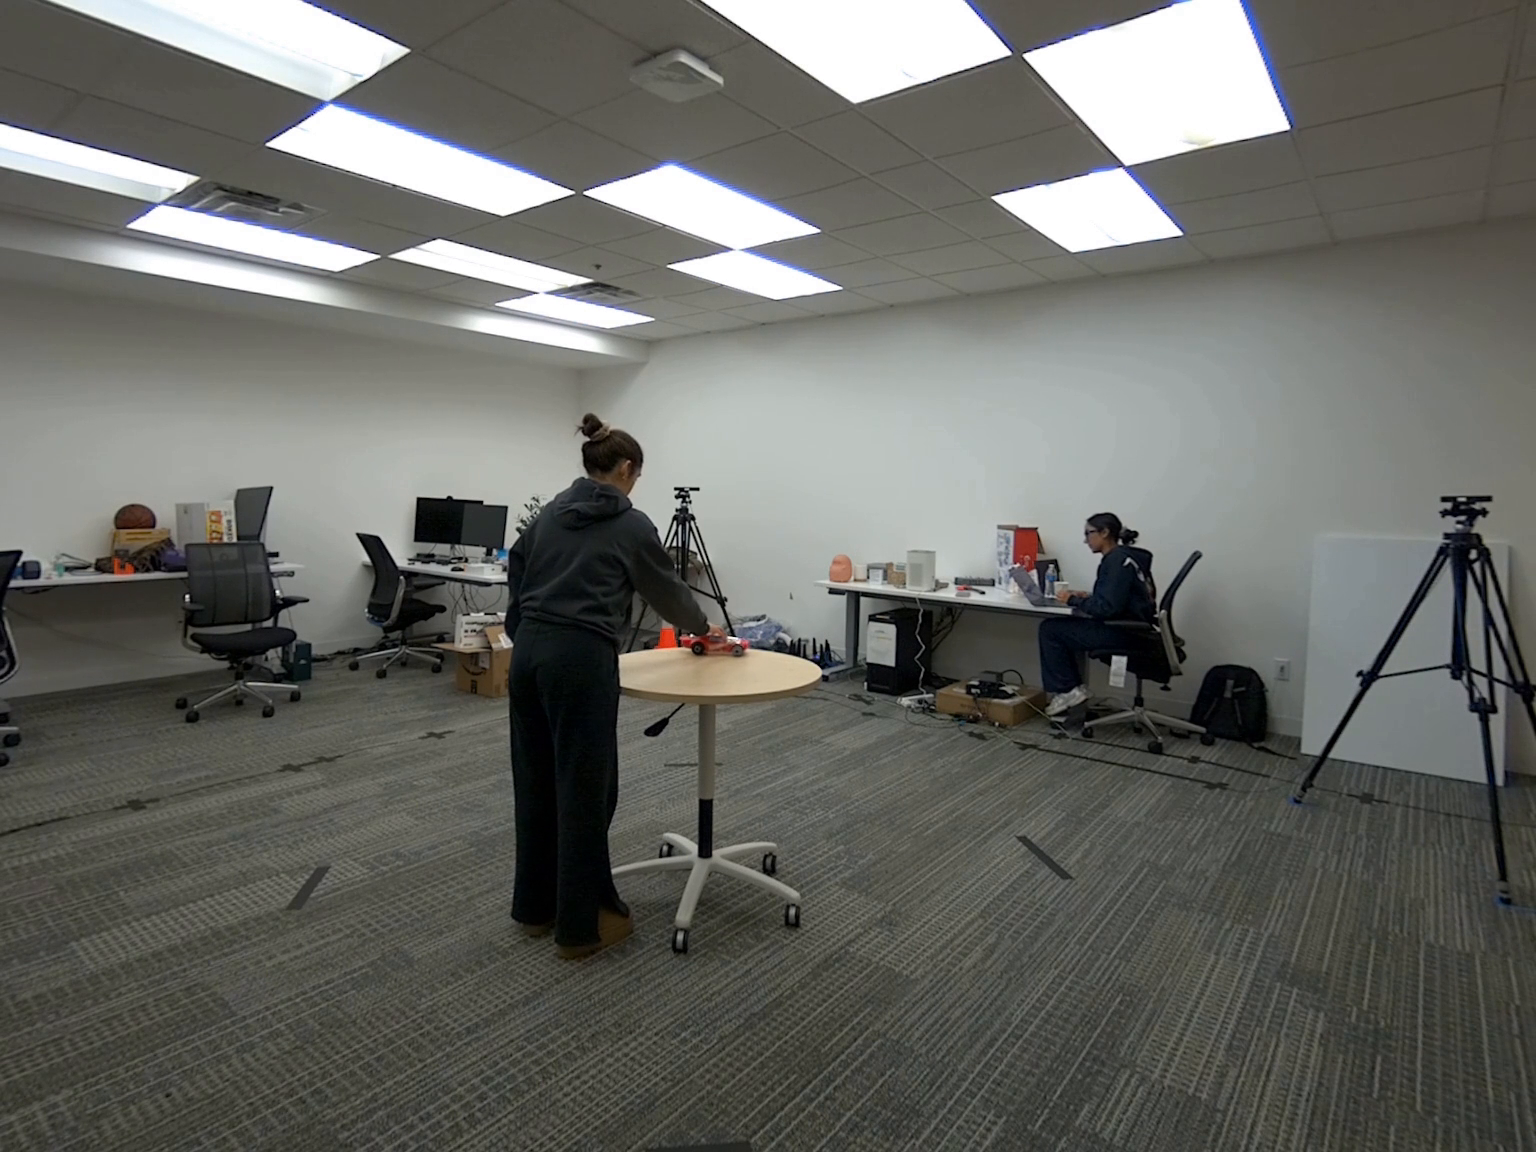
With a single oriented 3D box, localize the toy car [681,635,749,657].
[{"bbox_3d":[-0.203,0.250,3.120,0.257,0.083,0.129,12,7,7],"label":"toy car"}]
